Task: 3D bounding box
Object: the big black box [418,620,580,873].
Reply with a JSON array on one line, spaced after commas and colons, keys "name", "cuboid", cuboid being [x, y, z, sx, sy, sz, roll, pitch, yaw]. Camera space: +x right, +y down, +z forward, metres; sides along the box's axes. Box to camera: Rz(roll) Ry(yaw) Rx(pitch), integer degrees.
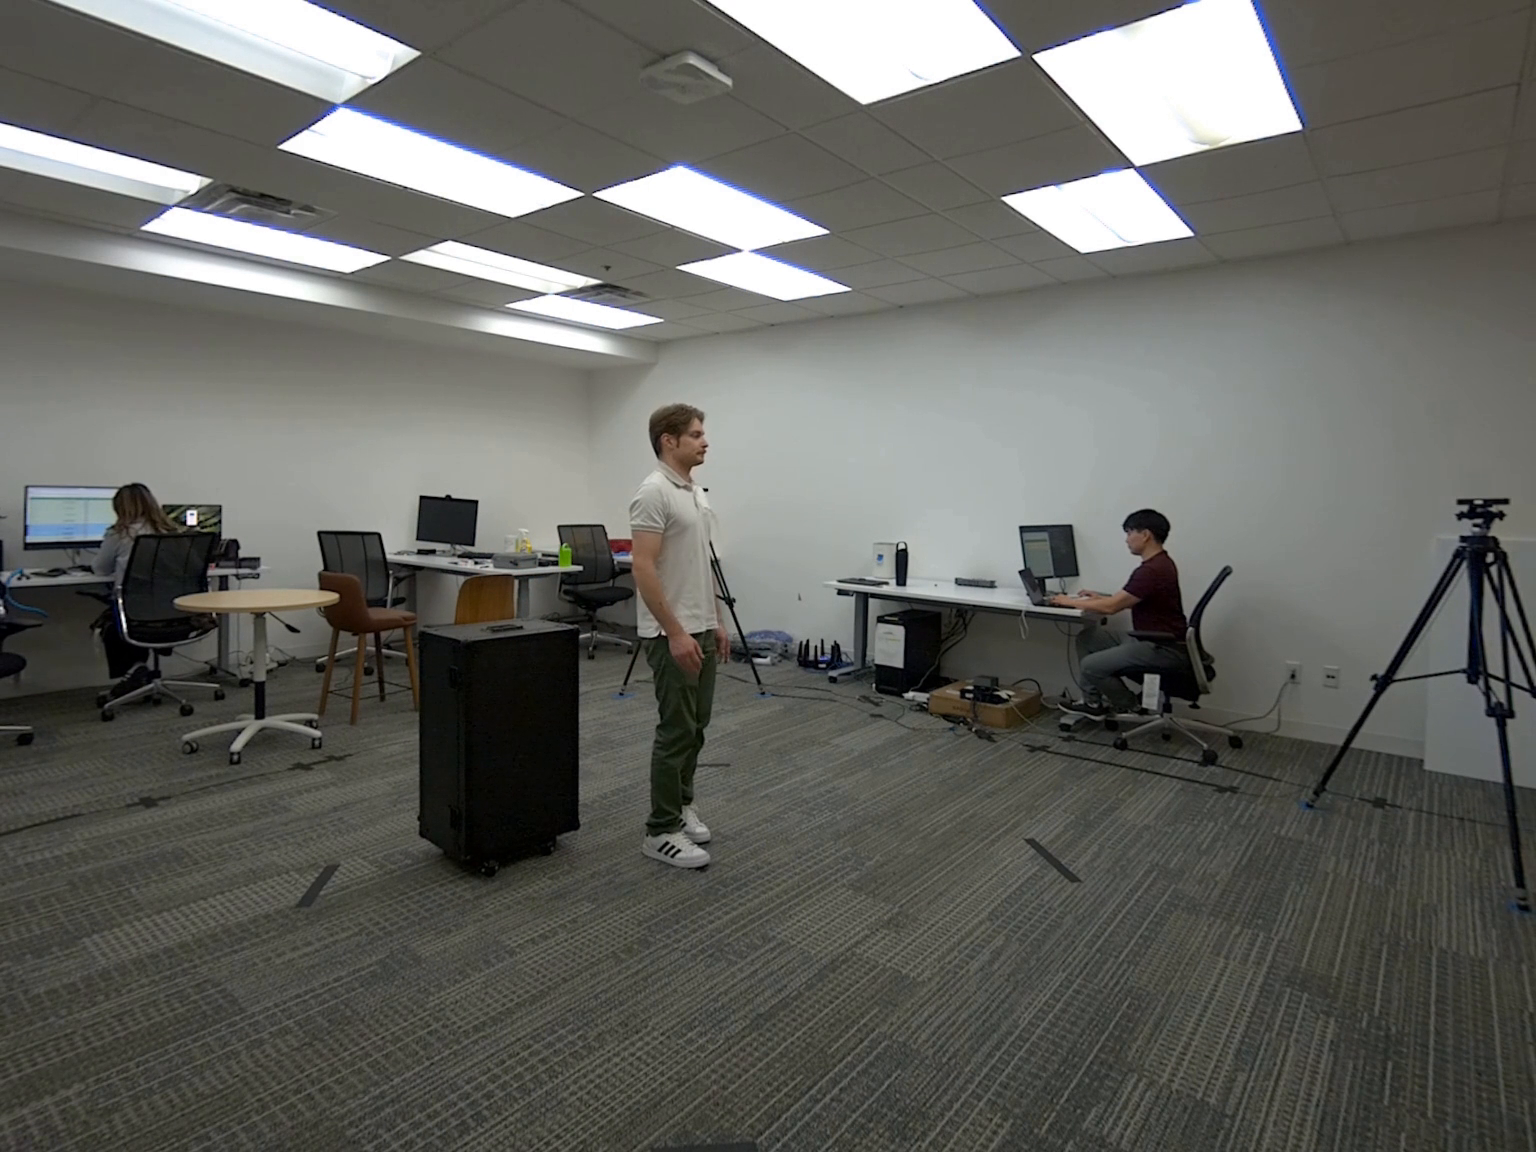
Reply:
[{"name": "big black box", "cuboid": [-1.036, 0.625, 3.219, 0.398, 0.867, 0.507, 3, 3, 42]}]
